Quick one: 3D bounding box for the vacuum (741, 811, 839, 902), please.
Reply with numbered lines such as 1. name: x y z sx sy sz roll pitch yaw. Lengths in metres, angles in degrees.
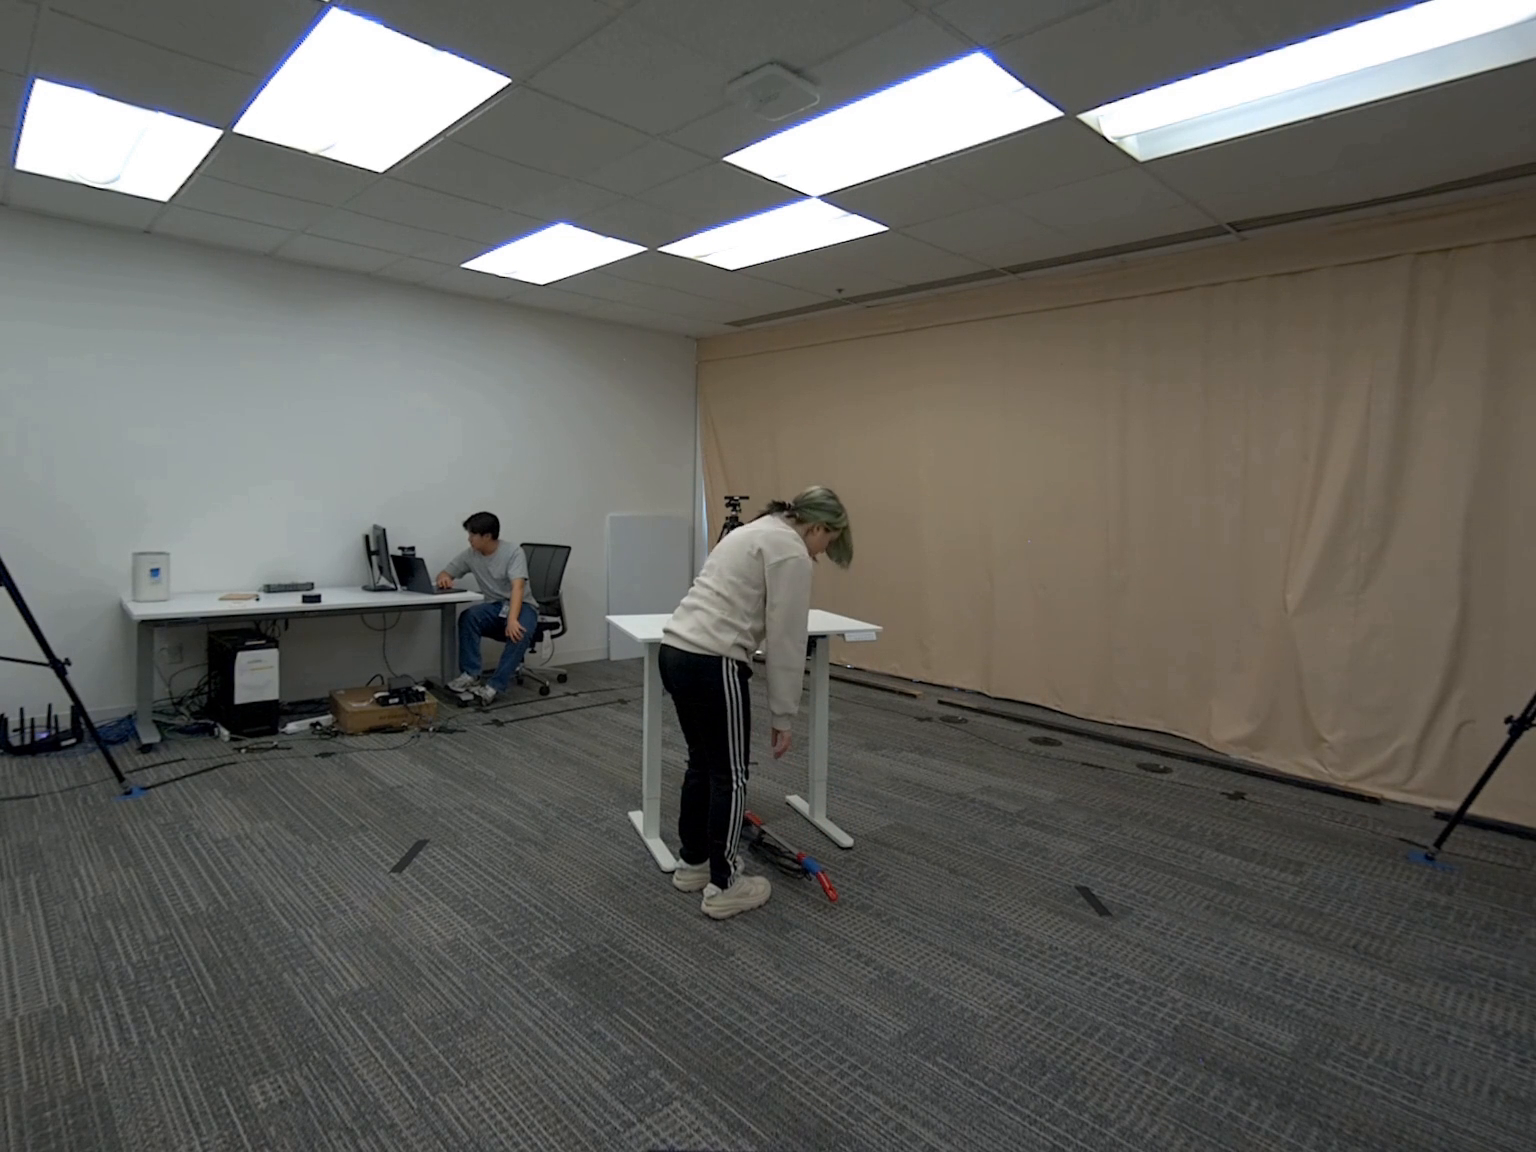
1. vacuum: -0.021 1.029 3.293 0.248 0.143 1.072 1 6 -26
